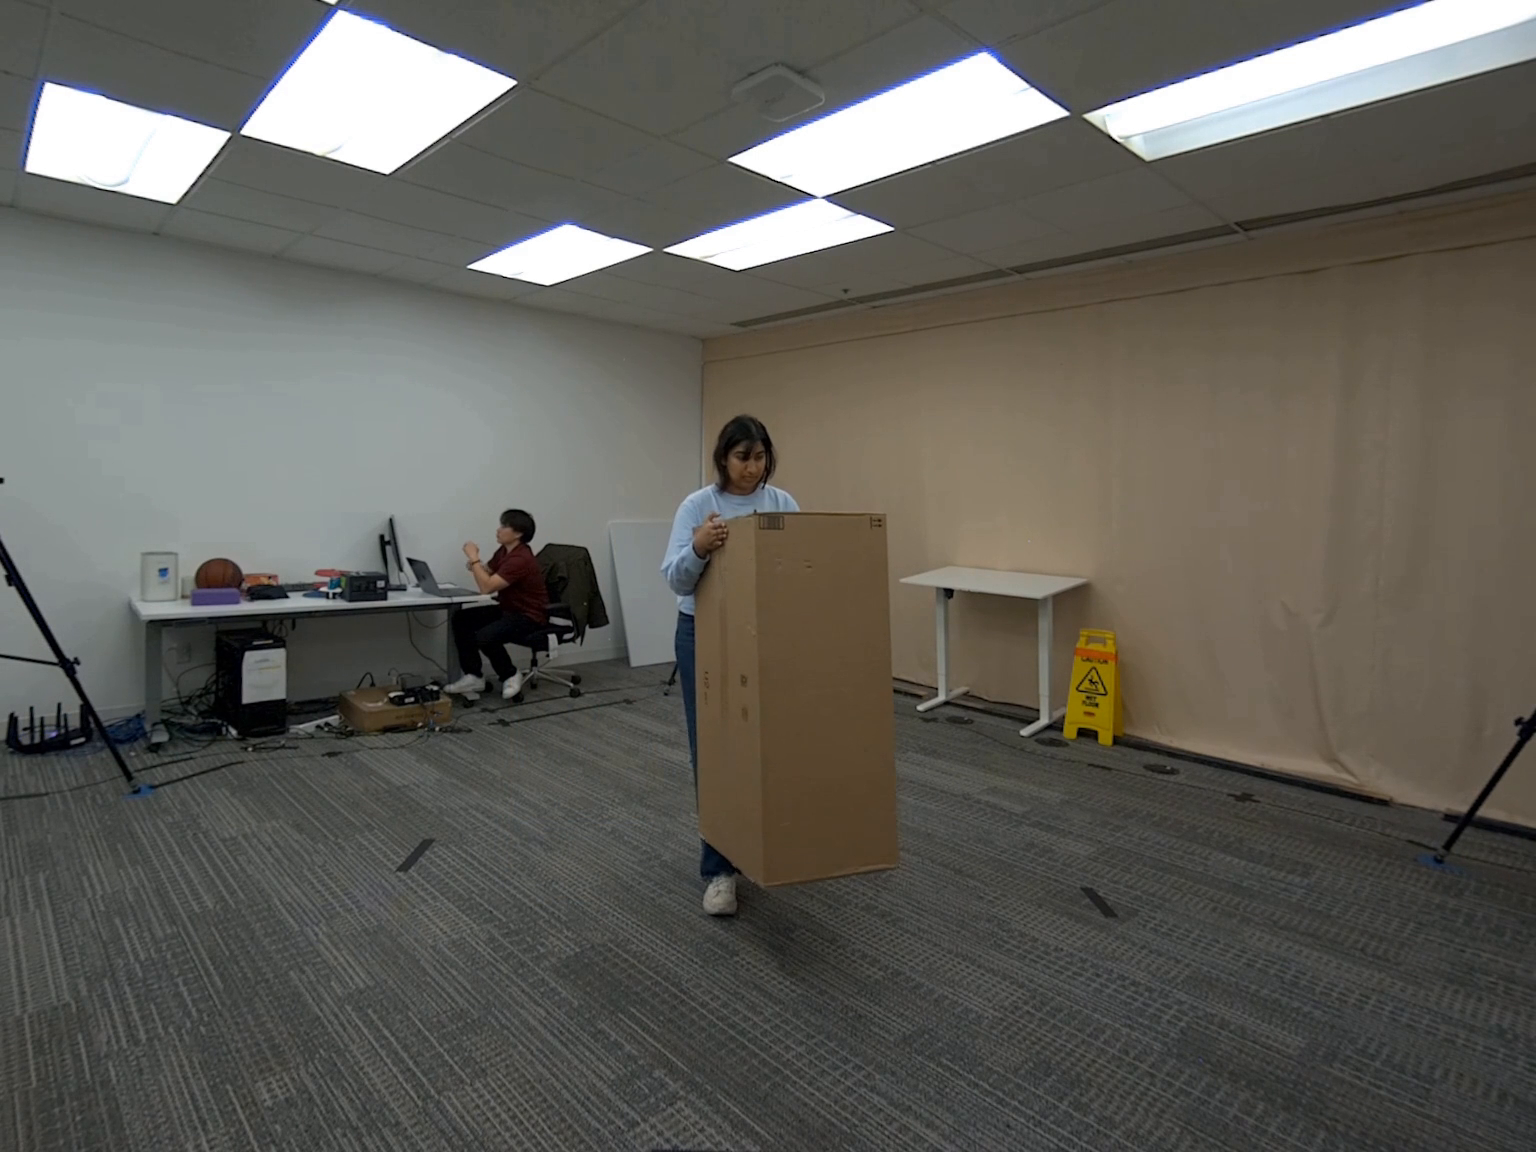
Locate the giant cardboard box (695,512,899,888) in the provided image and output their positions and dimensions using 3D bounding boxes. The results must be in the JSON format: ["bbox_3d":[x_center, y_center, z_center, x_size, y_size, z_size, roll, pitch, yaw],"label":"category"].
[{"bbox_3d":[0.060,0.338,2.620,0.440,1.030,0.591,0,-3,-21],"label":"giant cardboard box"}]
